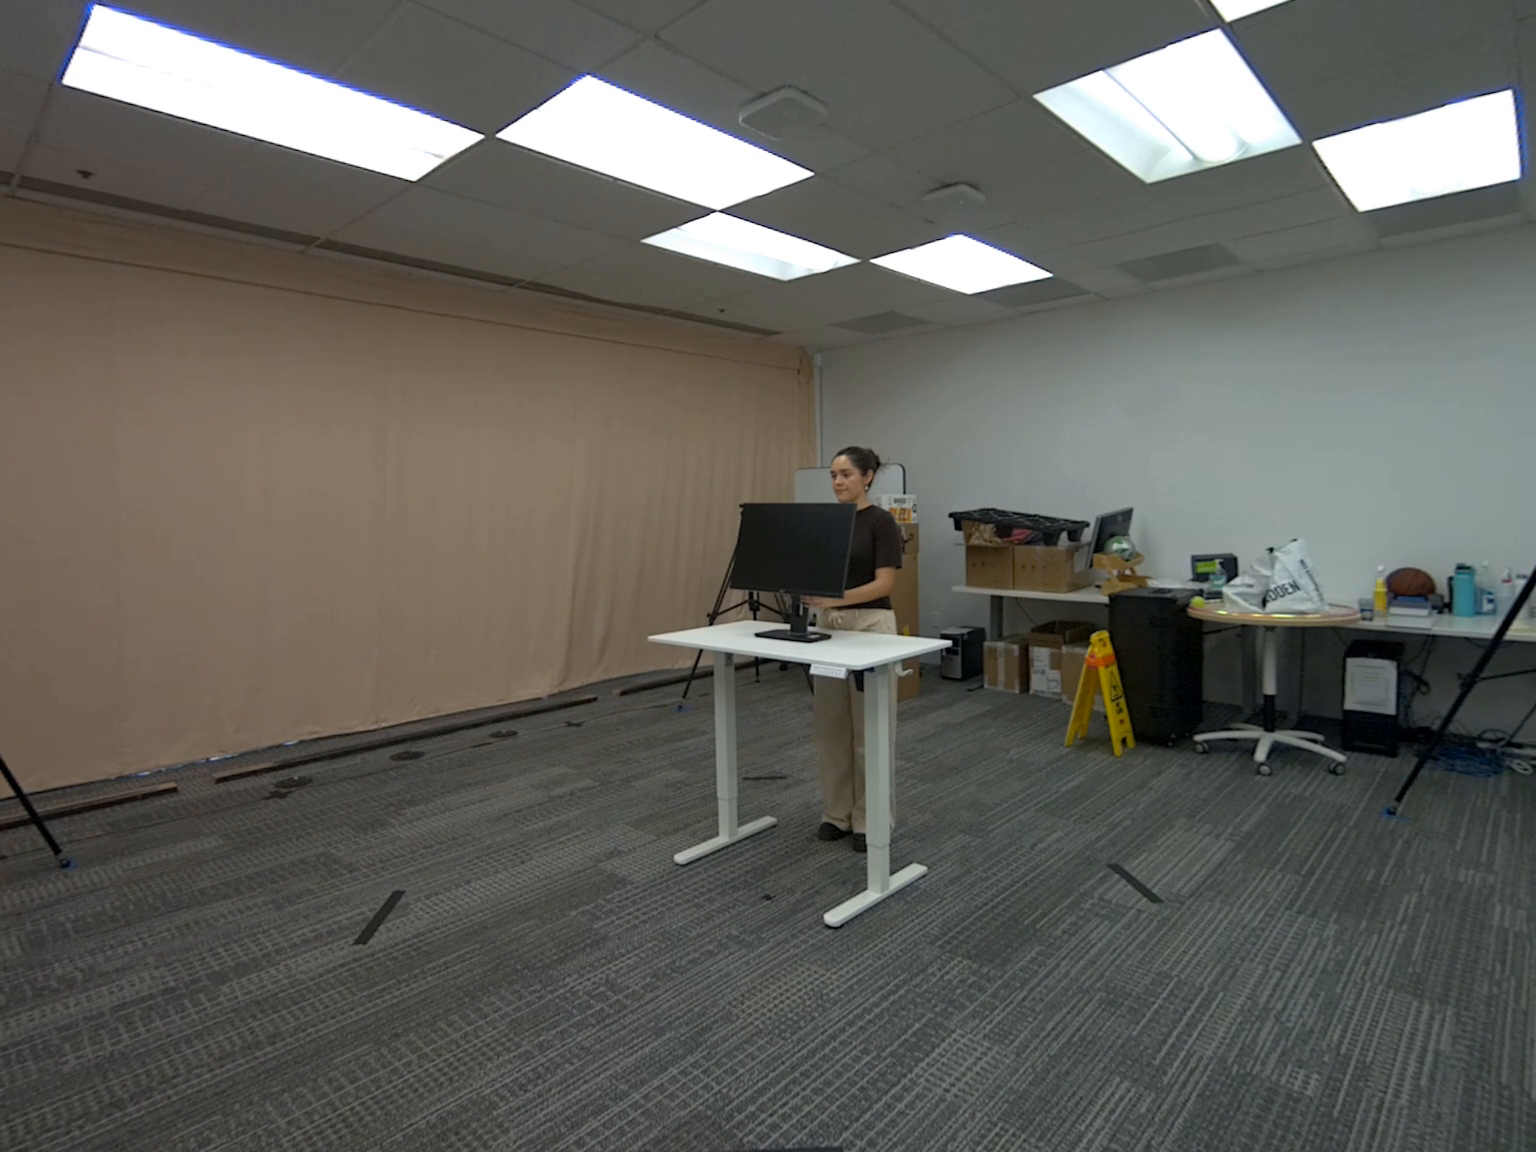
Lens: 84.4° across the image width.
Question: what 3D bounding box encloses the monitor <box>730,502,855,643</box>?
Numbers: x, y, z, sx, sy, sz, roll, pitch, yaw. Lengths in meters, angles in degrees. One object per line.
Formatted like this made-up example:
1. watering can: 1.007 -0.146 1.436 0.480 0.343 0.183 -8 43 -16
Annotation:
1. monitor: 0.102 -0.018 3.213 0.557 0.522 0.181 3 3 39
